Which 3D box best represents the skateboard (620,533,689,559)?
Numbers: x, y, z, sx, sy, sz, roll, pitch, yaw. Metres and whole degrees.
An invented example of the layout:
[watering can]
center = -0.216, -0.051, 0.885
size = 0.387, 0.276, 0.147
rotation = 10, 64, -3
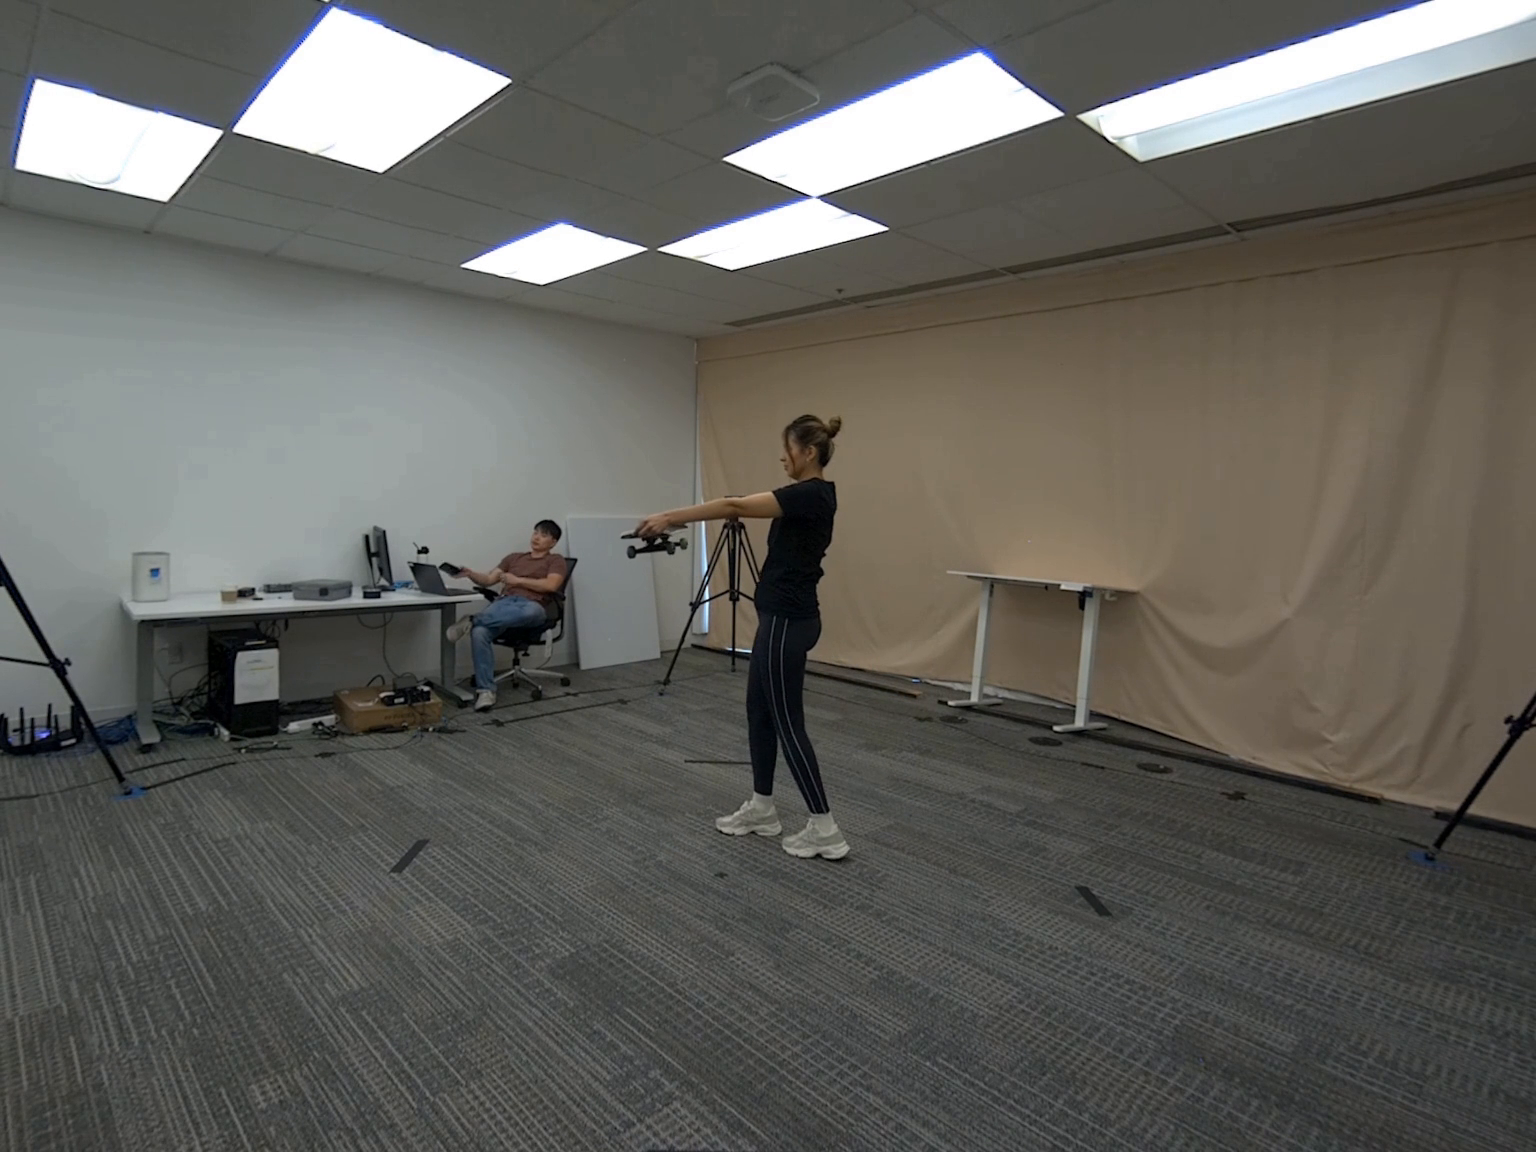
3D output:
[skateboard]
center = -0.452, -0.145, 3.421
size = 0.194, 0.110, 0.785
rotation = -3, 6, 4
